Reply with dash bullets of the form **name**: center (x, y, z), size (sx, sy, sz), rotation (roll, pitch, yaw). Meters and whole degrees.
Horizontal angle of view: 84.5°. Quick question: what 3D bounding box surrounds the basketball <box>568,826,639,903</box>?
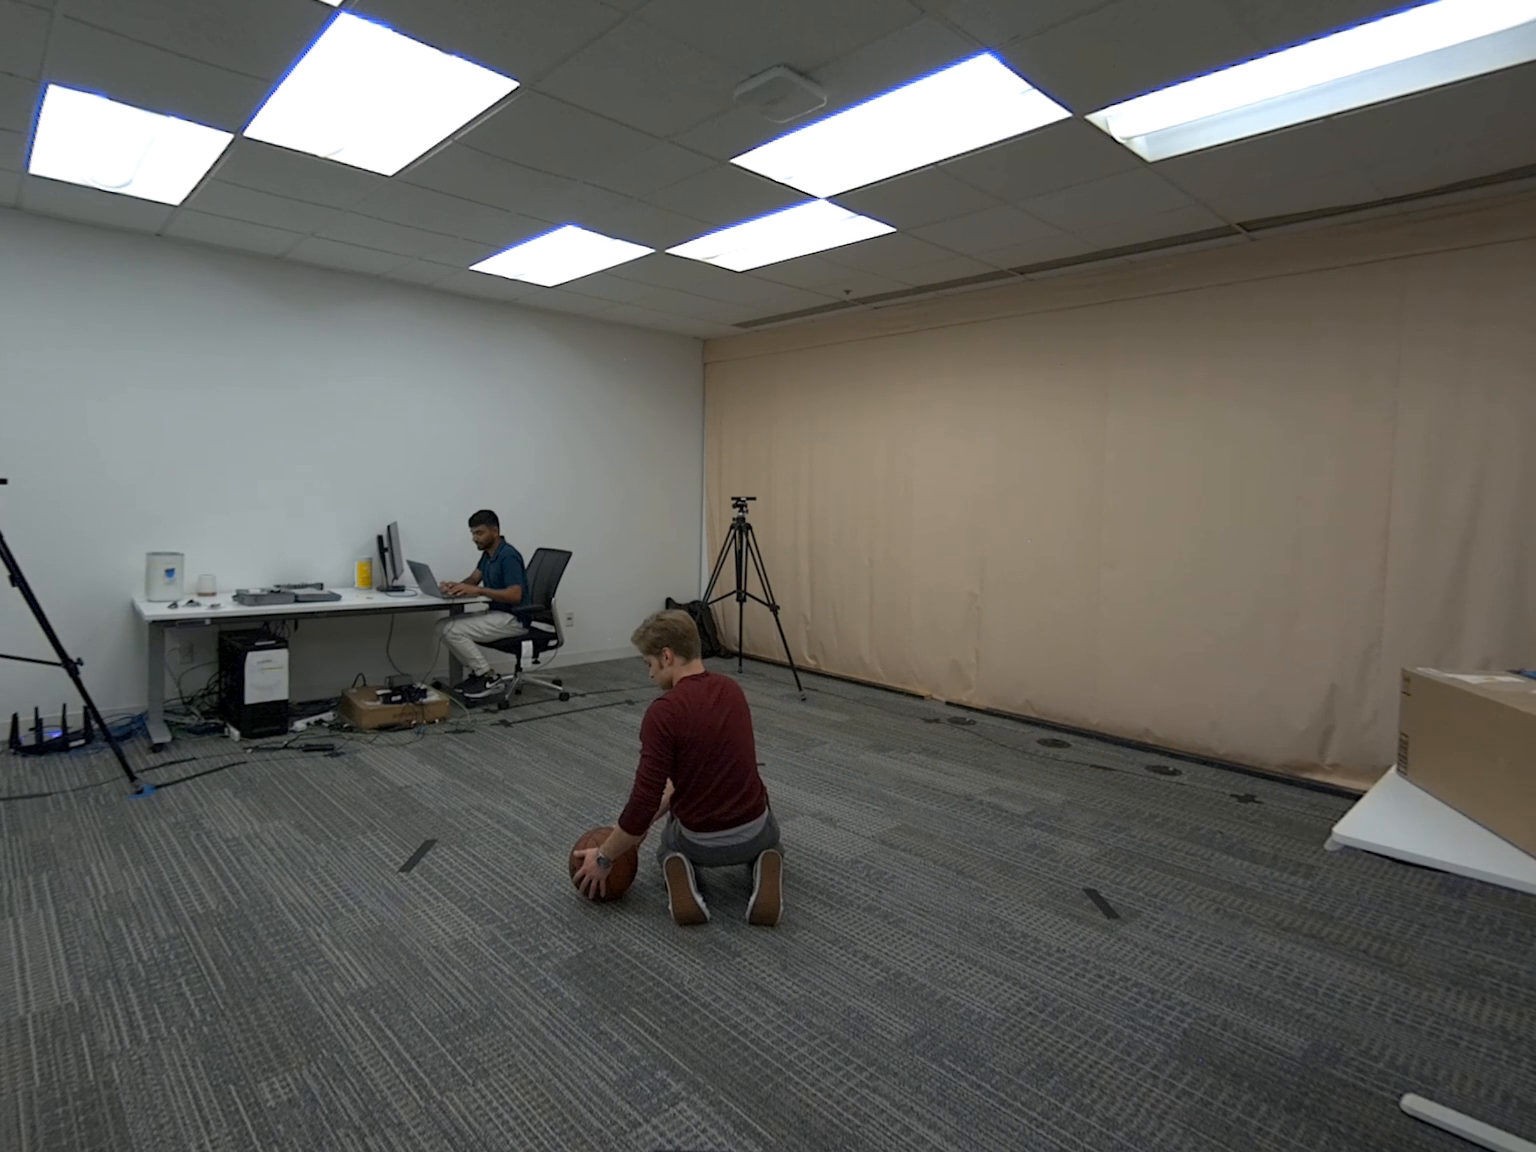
- **basketball**: center (-0.572, 0.988, 2.910), size (0.236, 0.235, 0.237), rotation (1, 4, -1)
